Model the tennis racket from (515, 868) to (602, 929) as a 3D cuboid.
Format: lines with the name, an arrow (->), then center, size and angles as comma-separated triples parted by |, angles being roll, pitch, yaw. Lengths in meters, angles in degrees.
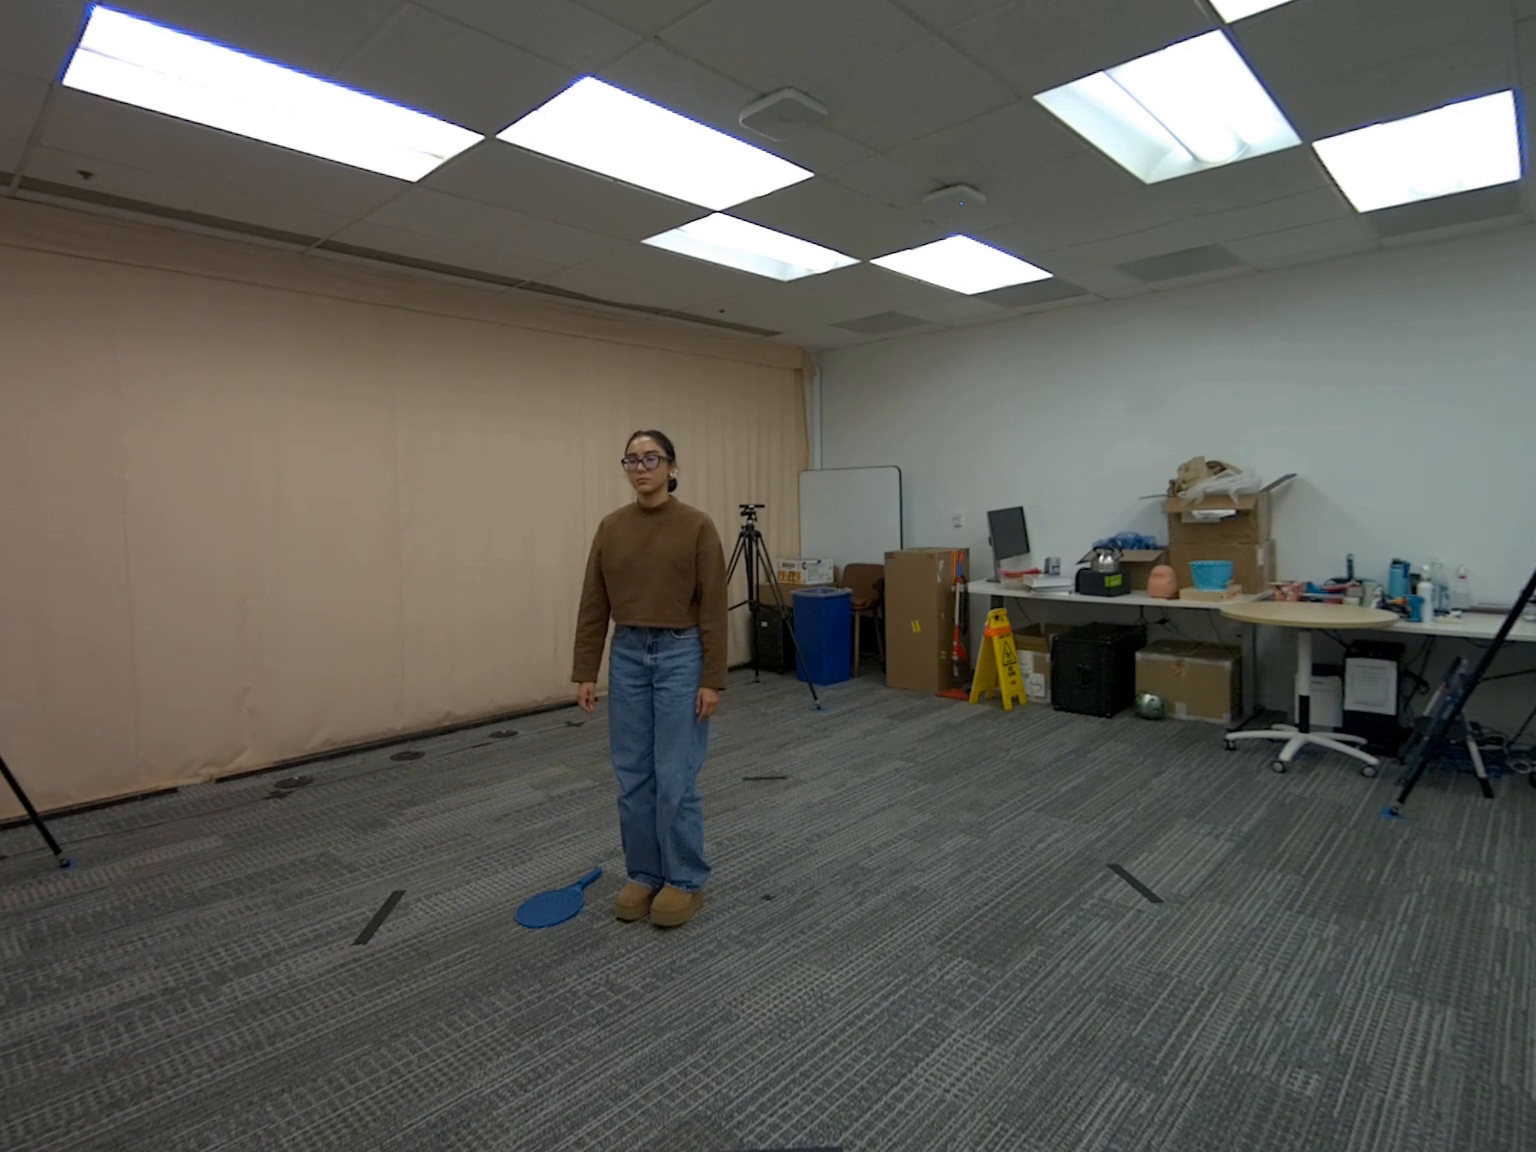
tennis racket -> -0.725, 1.144, 3.006 | 0.219, 0.031, 0.424 | 0, 6, 23
